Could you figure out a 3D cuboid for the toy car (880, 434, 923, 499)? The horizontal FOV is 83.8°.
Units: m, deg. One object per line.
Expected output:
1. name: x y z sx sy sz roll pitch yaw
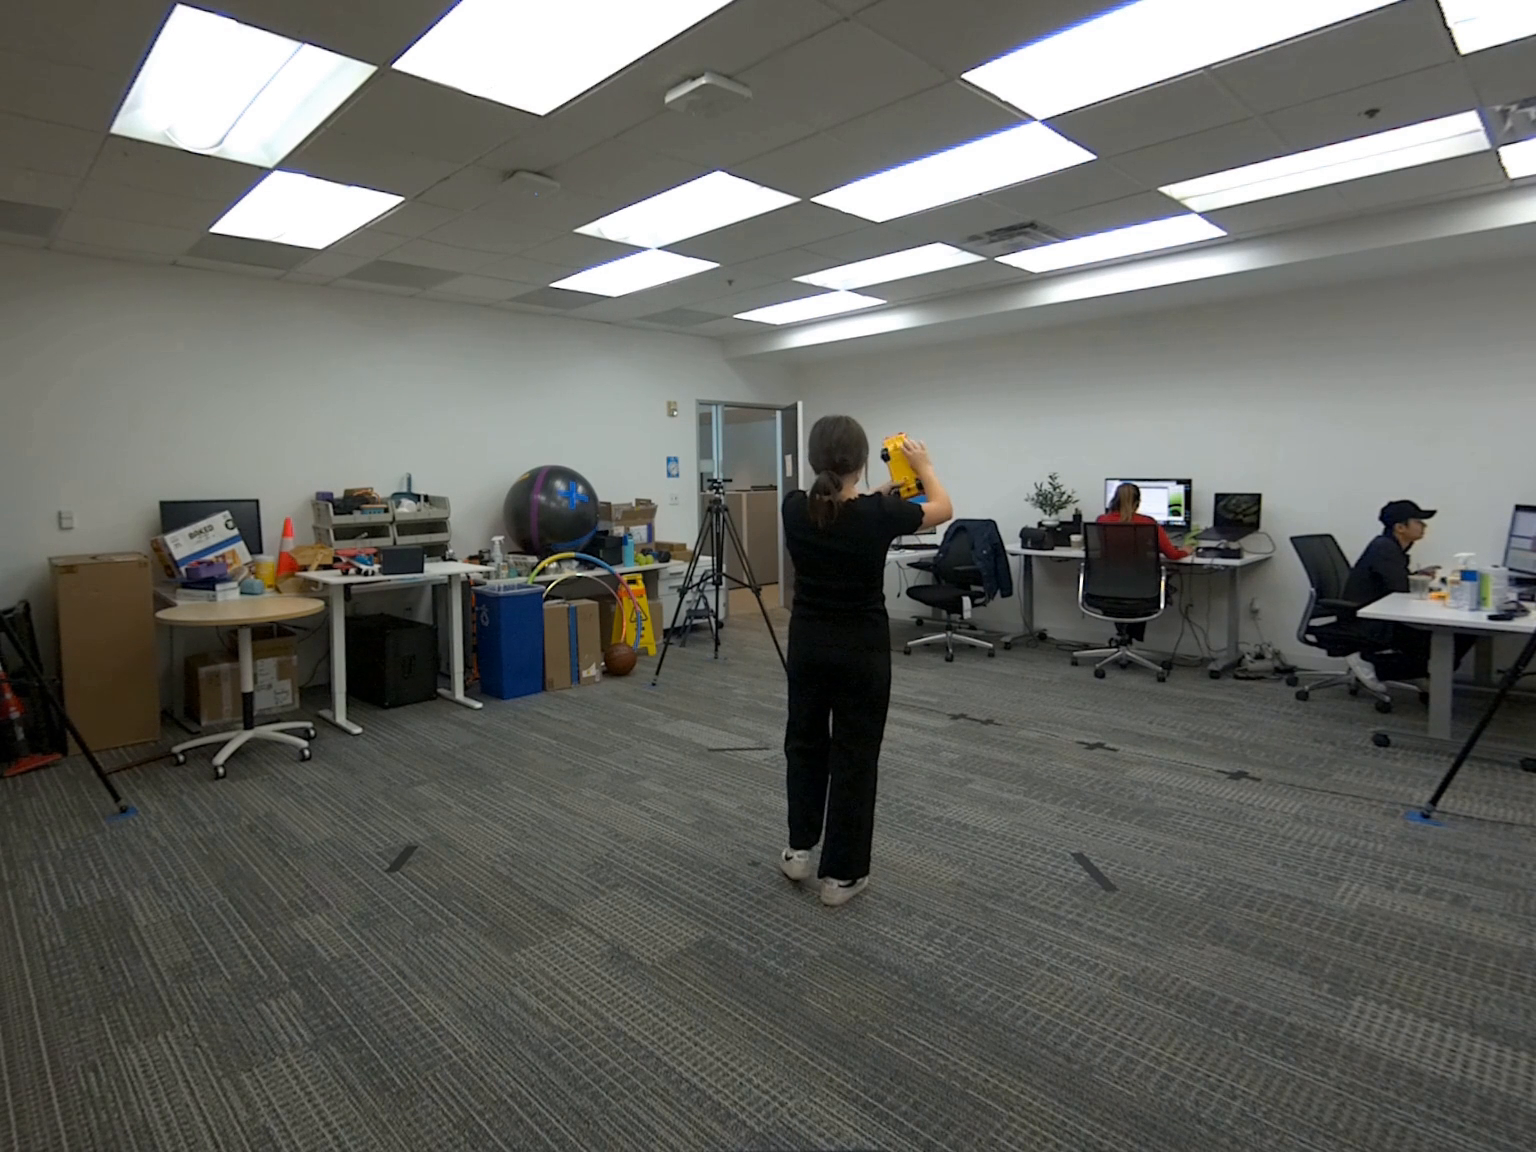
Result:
1. toy car: 0.488 -0.409 3.119 0.132 0.260 0.080 -18 -24 18
